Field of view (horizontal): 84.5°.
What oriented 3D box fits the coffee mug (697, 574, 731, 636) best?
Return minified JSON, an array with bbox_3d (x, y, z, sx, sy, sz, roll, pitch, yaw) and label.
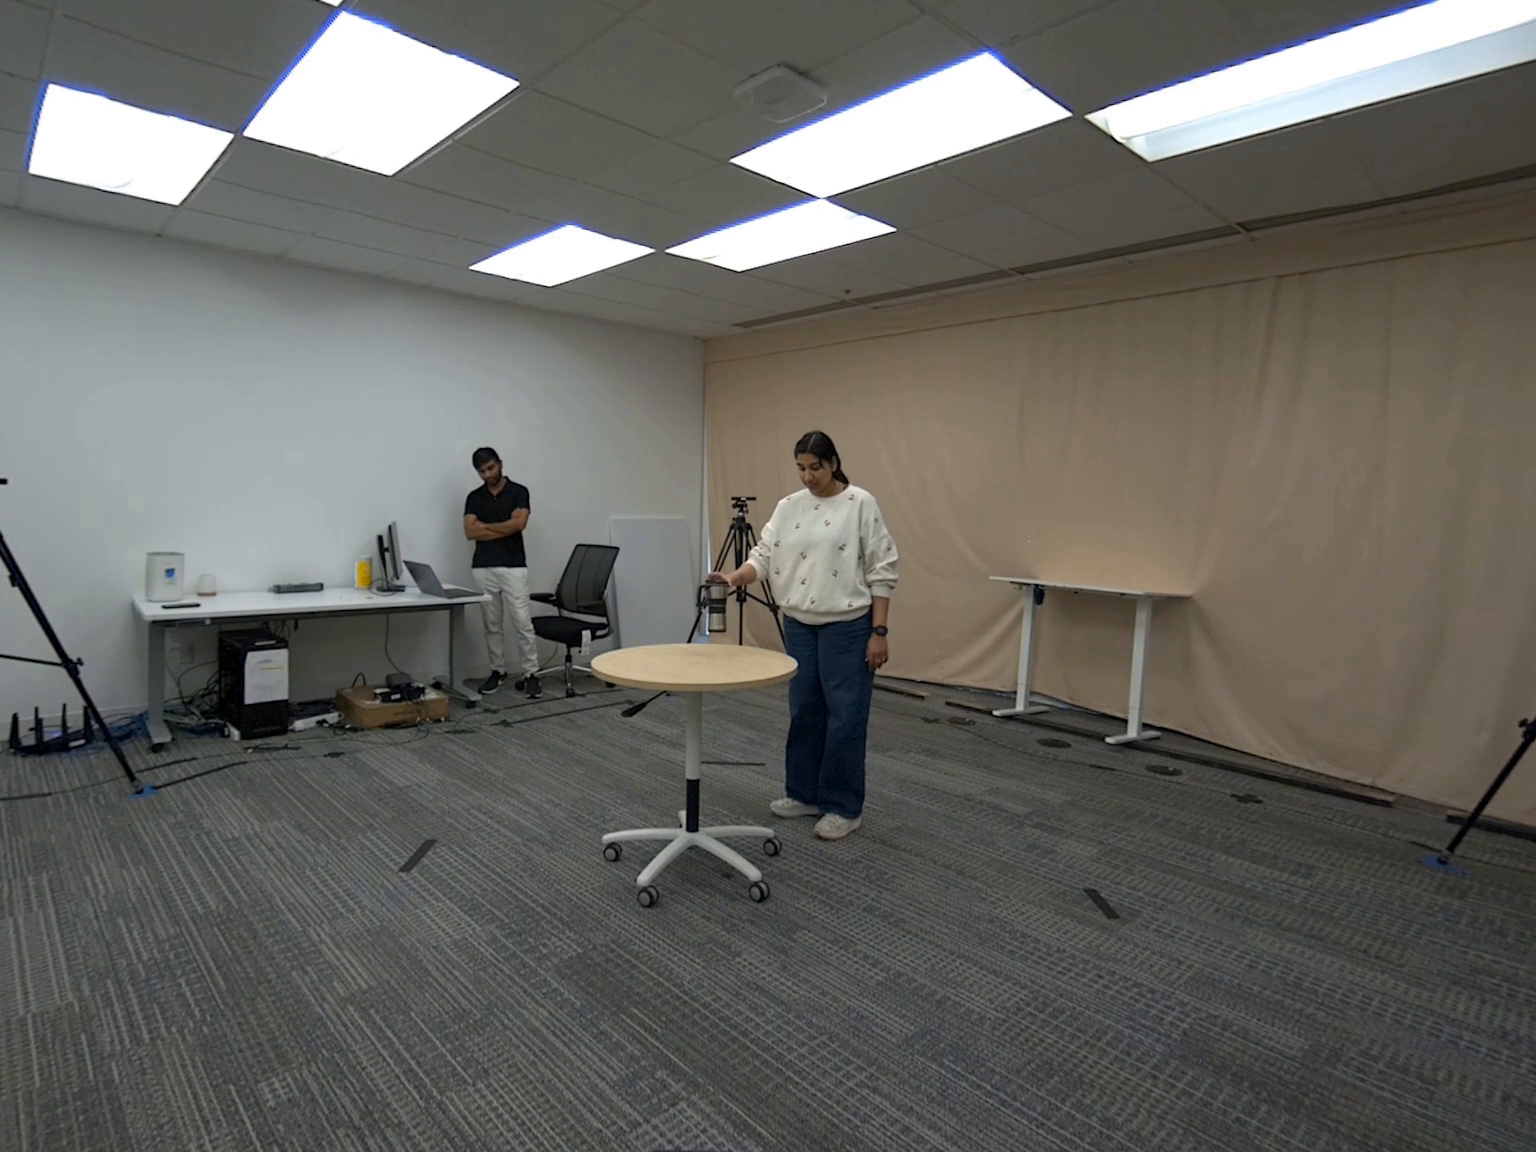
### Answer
[{"bbox_3d":[-0.223,0.121,3.291,0.125,0.202,0.086,6,4,37],"label":"coffee mug"}]
